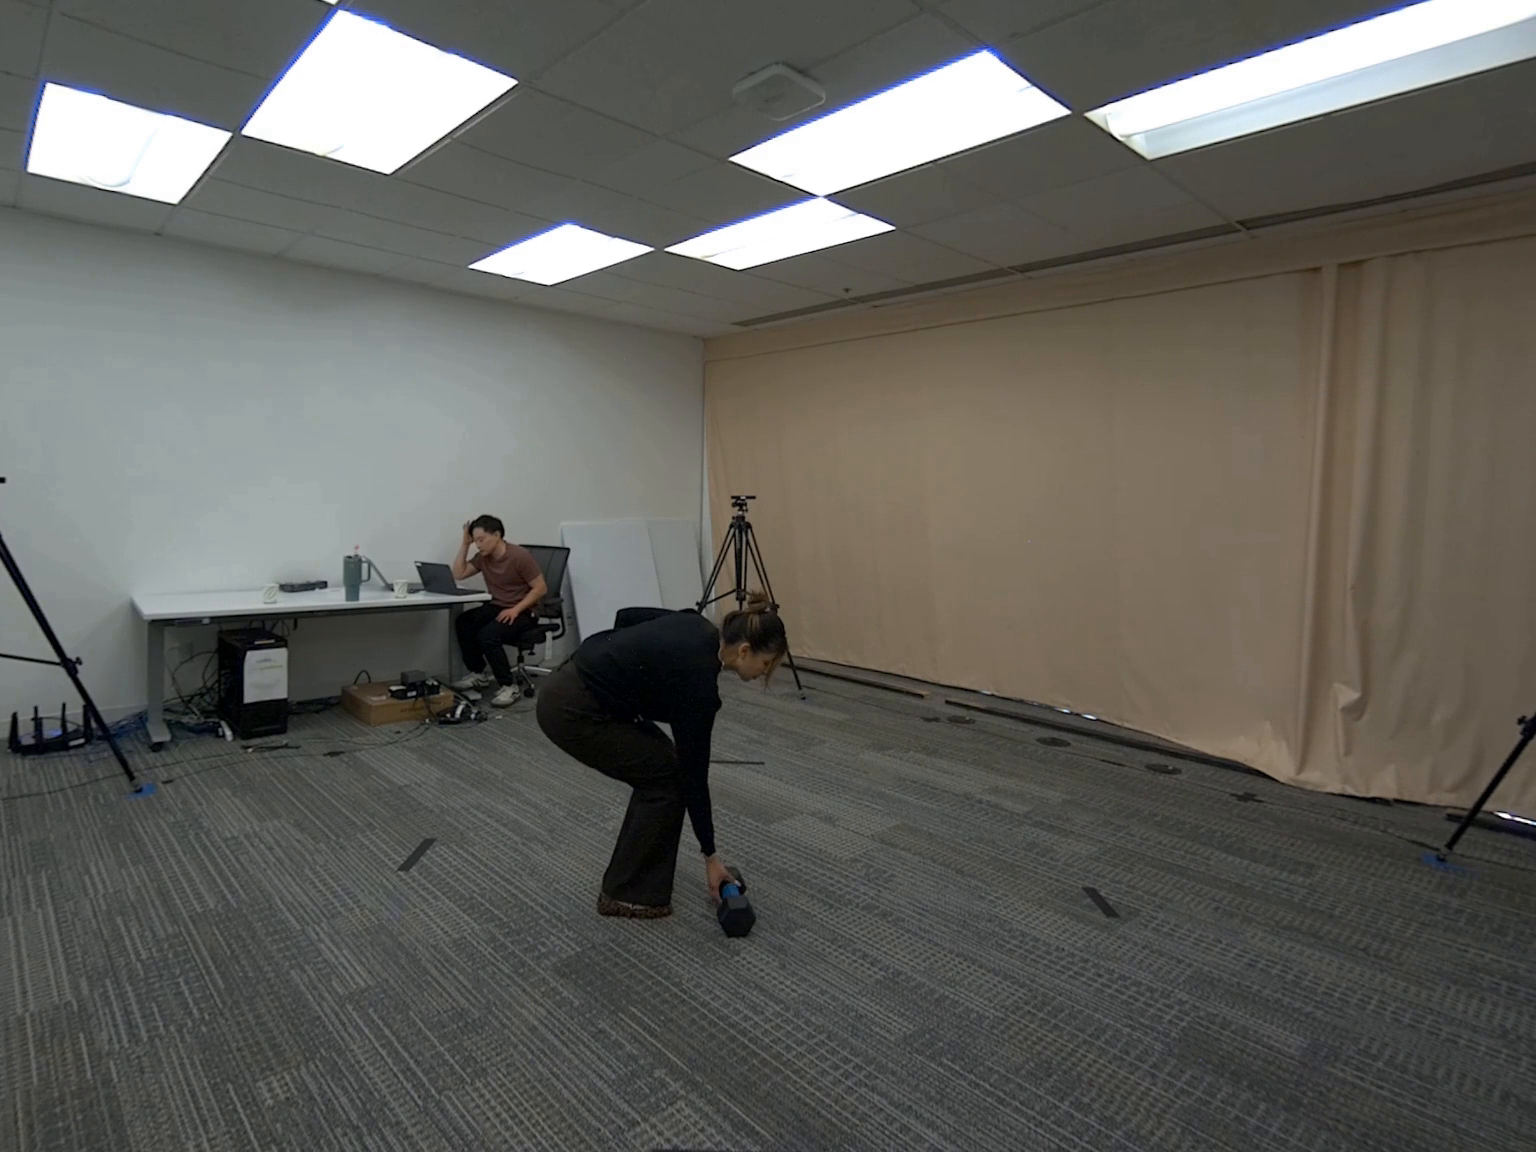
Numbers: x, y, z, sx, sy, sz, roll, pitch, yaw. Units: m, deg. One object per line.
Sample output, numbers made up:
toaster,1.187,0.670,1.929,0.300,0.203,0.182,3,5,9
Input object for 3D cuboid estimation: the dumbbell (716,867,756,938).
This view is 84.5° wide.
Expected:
dumbbell,-0.128,1.077,2.791,0.107,0.123,0.296,32,0,-11
